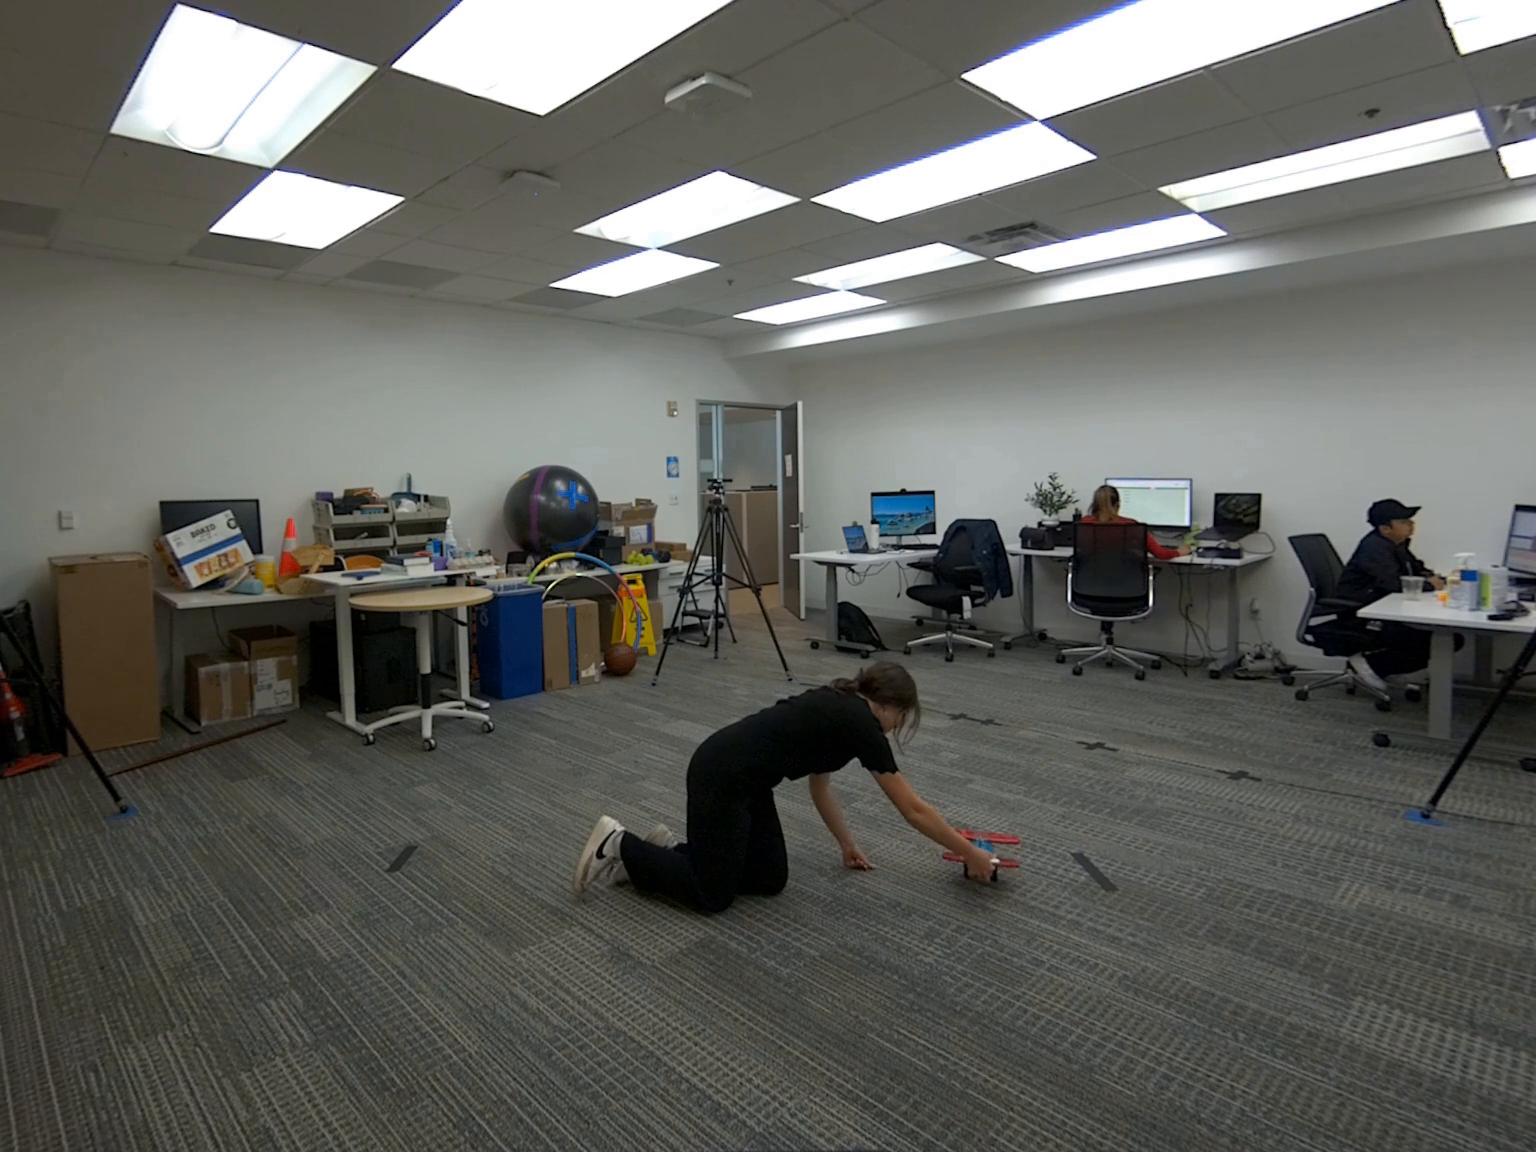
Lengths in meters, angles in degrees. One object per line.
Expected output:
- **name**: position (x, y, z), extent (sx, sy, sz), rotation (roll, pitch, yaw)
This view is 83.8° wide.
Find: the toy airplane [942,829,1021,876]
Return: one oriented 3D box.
- **toy airplane**: position (0.737, 0.947, 2.894), extent (0.248, 0.159, 0.258), rotation (10, -20, -10)
